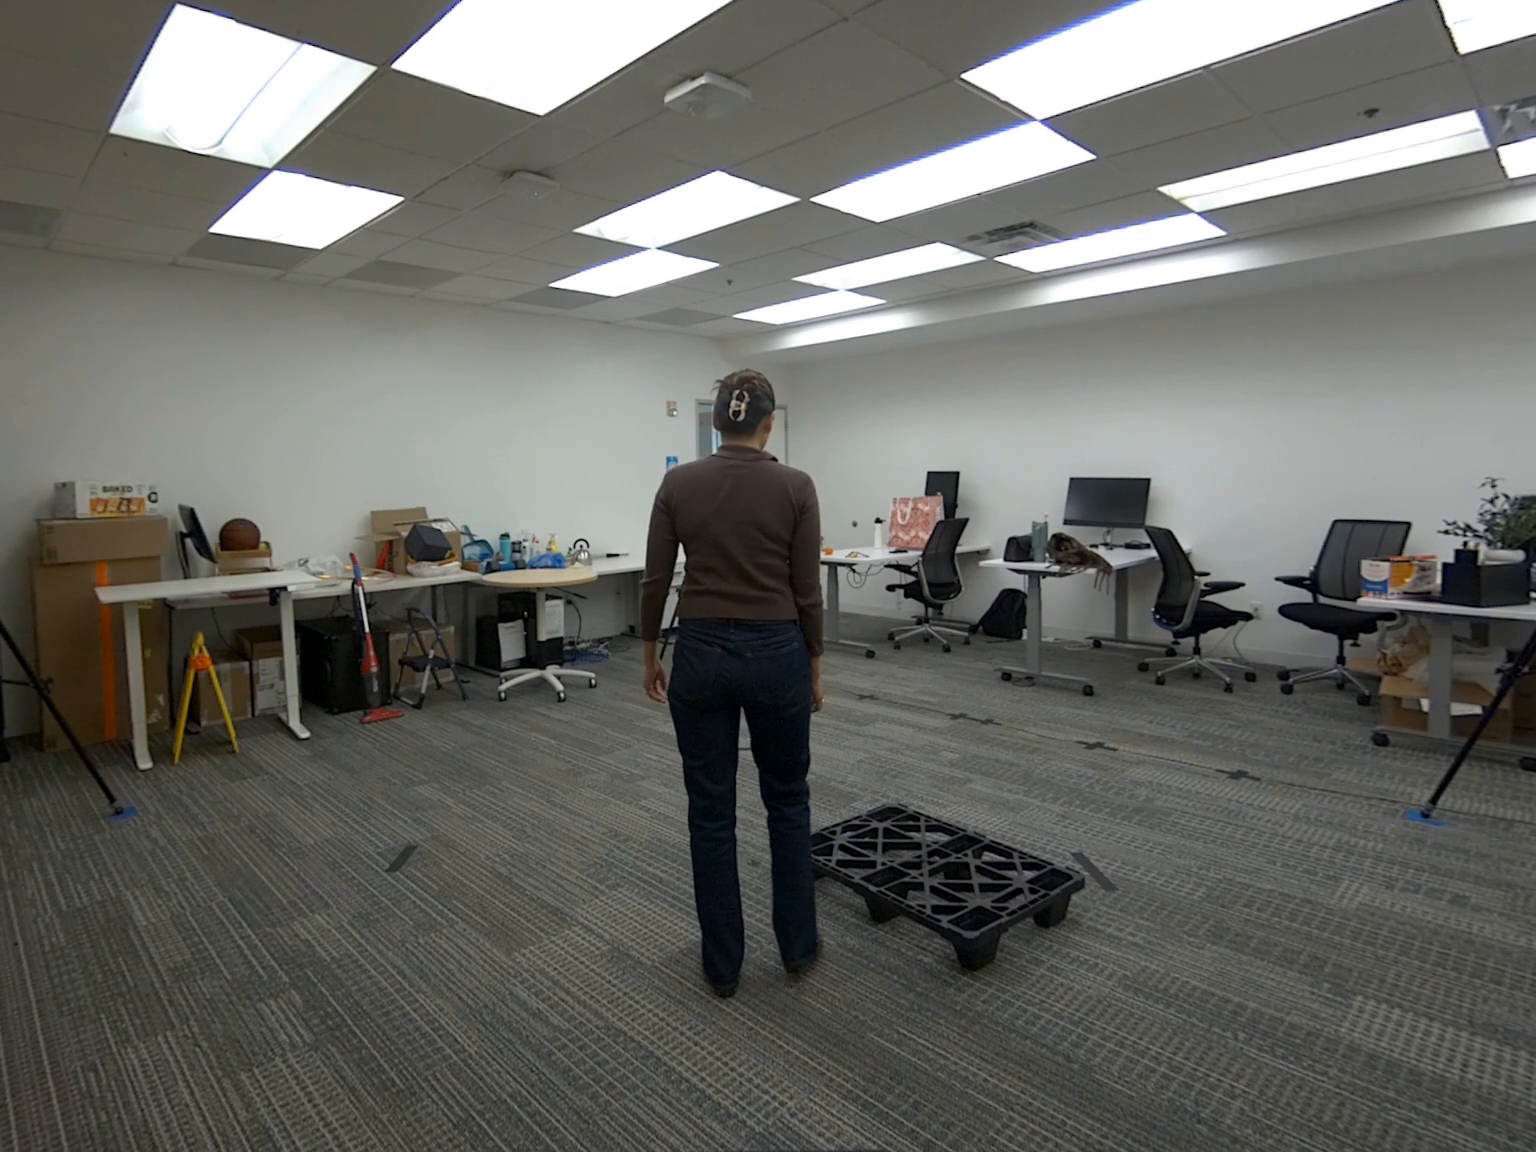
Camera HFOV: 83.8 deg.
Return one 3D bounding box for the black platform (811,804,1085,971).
[{"bbox_3d":[0.522,0.999,2.823,0.590,0.142,0.830,-7,9,-38],"label":"black platform"}]
